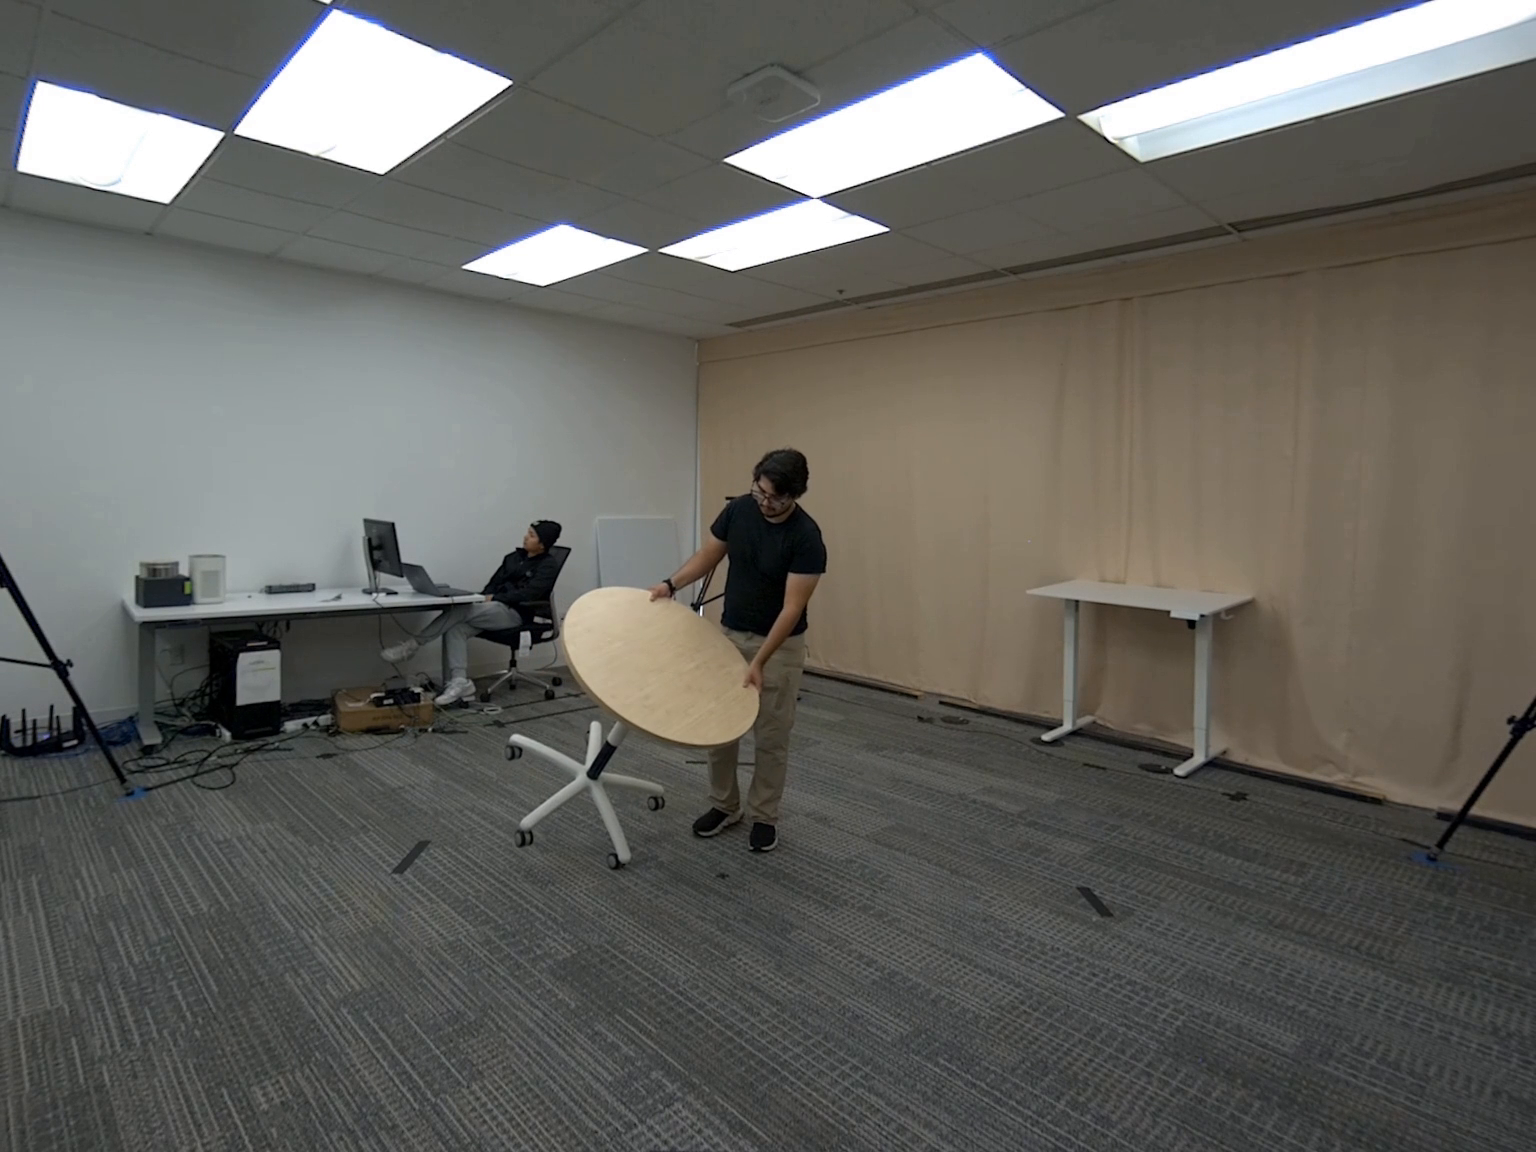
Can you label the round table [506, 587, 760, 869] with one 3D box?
[{"bbox_3d":[-0.581,0.581,3.167,0.773,0.783,0.800,25,27,-15],"label":"round table"}]
